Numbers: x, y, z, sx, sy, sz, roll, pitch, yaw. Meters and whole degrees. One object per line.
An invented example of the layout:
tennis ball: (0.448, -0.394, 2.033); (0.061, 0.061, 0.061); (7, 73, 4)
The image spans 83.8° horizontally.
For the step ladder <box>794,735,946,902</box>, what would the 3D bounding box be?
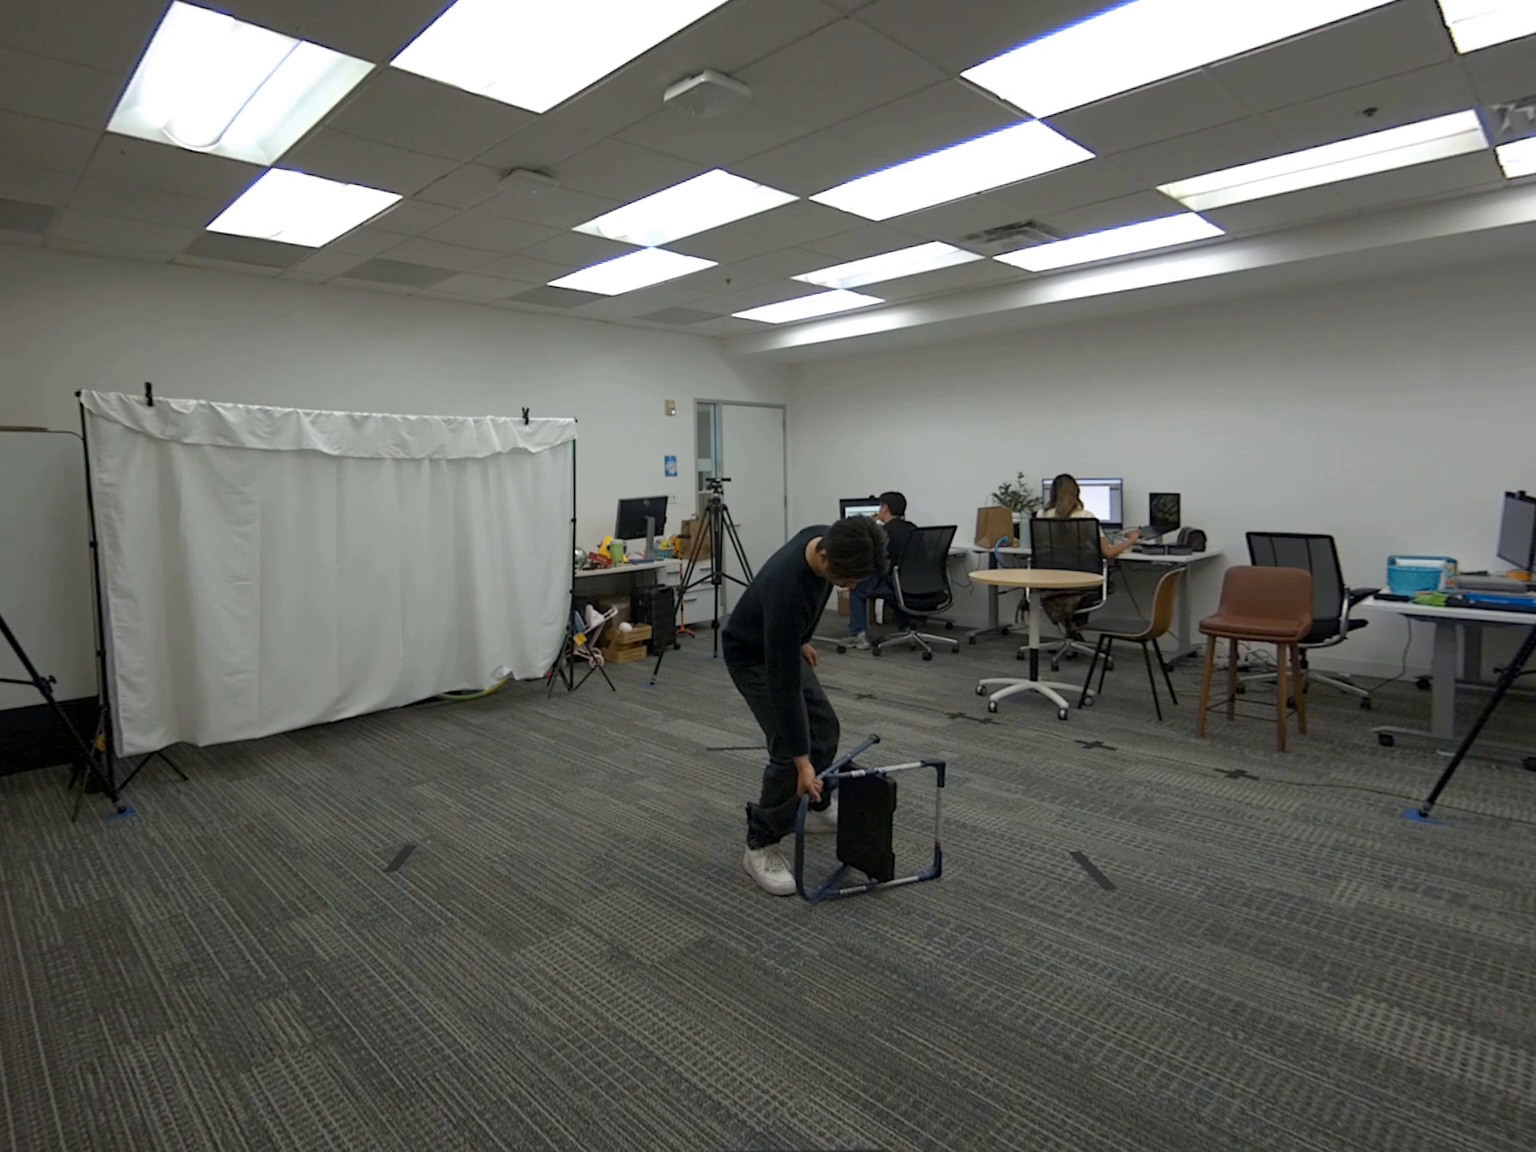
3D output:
step ladder: (0.277, 0.838, 2.910); (0.590, 0.429, 0.360); (-4, 6, -39)
